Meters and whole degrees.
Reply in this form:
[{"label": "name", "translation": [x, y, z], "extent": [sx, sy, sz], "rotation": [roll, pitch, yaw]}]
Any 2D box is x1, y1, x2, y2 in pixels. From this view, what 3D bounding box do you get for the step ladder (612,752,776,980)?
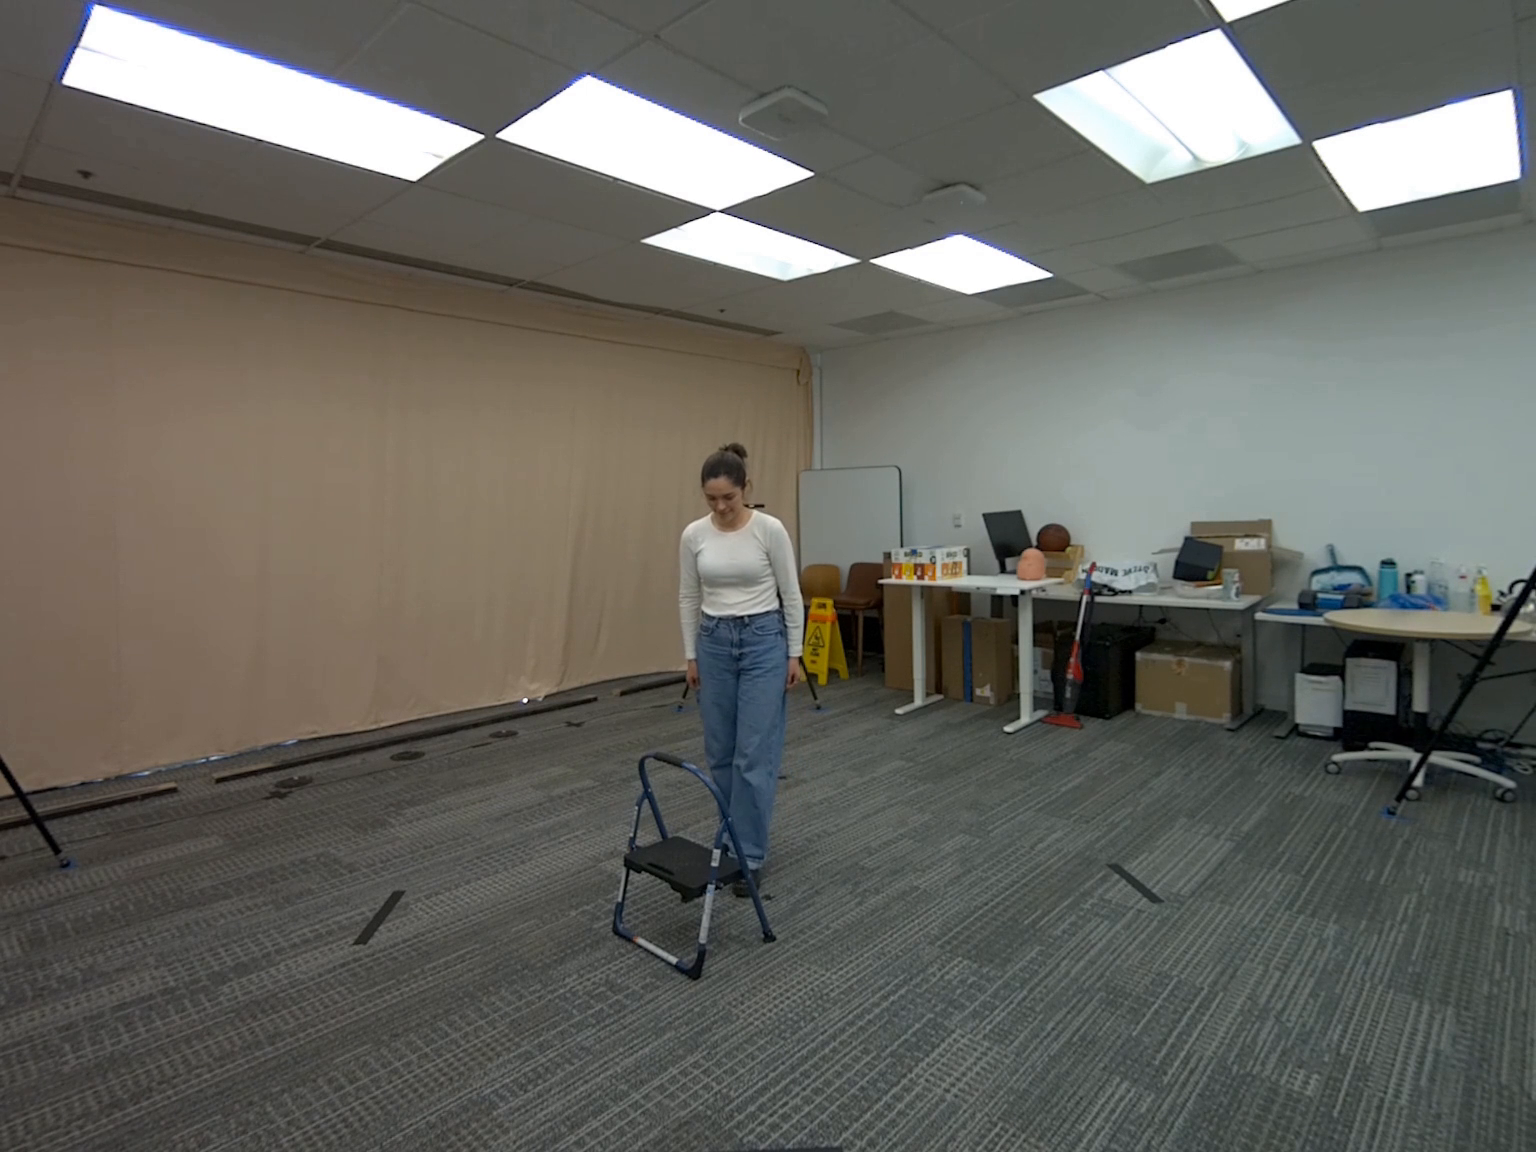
[{"label": "step ladder", "translation": [-0.254, 0.864, 2.712], "extent": [0.445, 0.605, 0.338], "rotation": [2, 4, 44]}]
